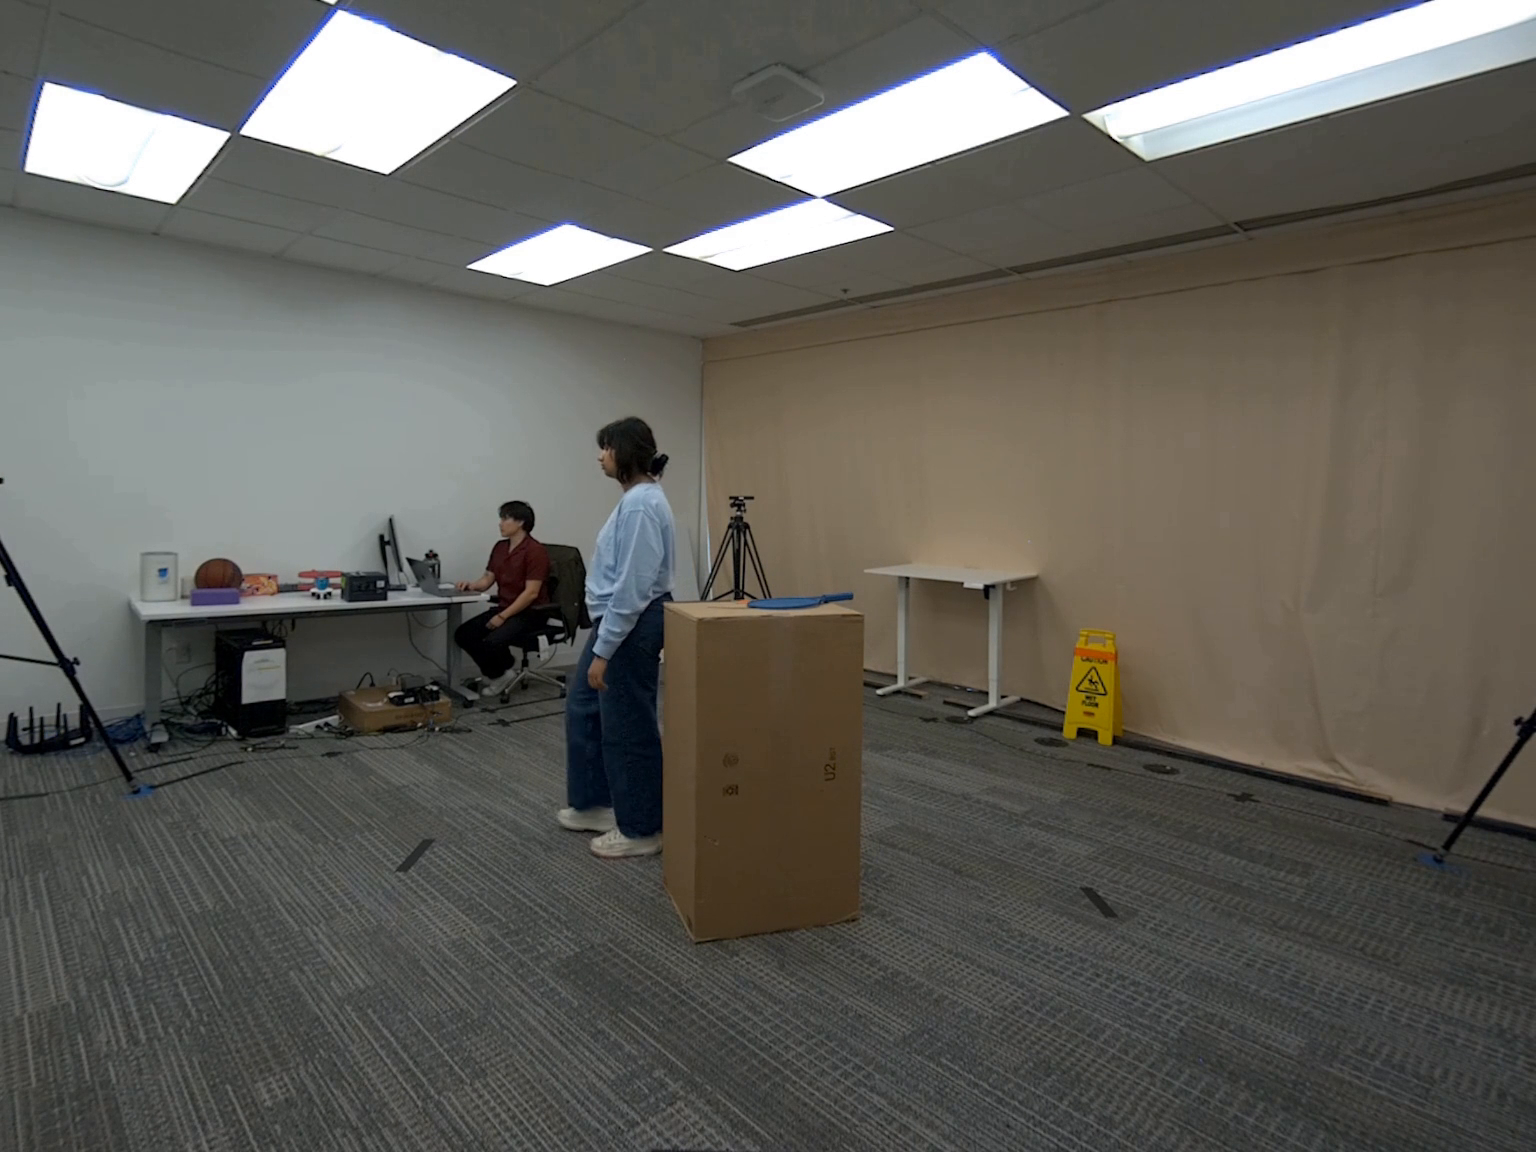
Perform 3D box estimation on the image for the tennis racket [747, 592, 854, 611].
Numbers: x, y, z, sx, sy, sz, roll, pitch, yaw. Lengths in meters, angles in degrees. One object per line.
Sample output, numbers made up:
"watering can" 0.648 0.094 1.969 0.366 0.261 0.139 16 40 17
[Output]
"tennis racket" 0.101 0.088 2.946 0.424 0.031 0.219 -6 9 -34
